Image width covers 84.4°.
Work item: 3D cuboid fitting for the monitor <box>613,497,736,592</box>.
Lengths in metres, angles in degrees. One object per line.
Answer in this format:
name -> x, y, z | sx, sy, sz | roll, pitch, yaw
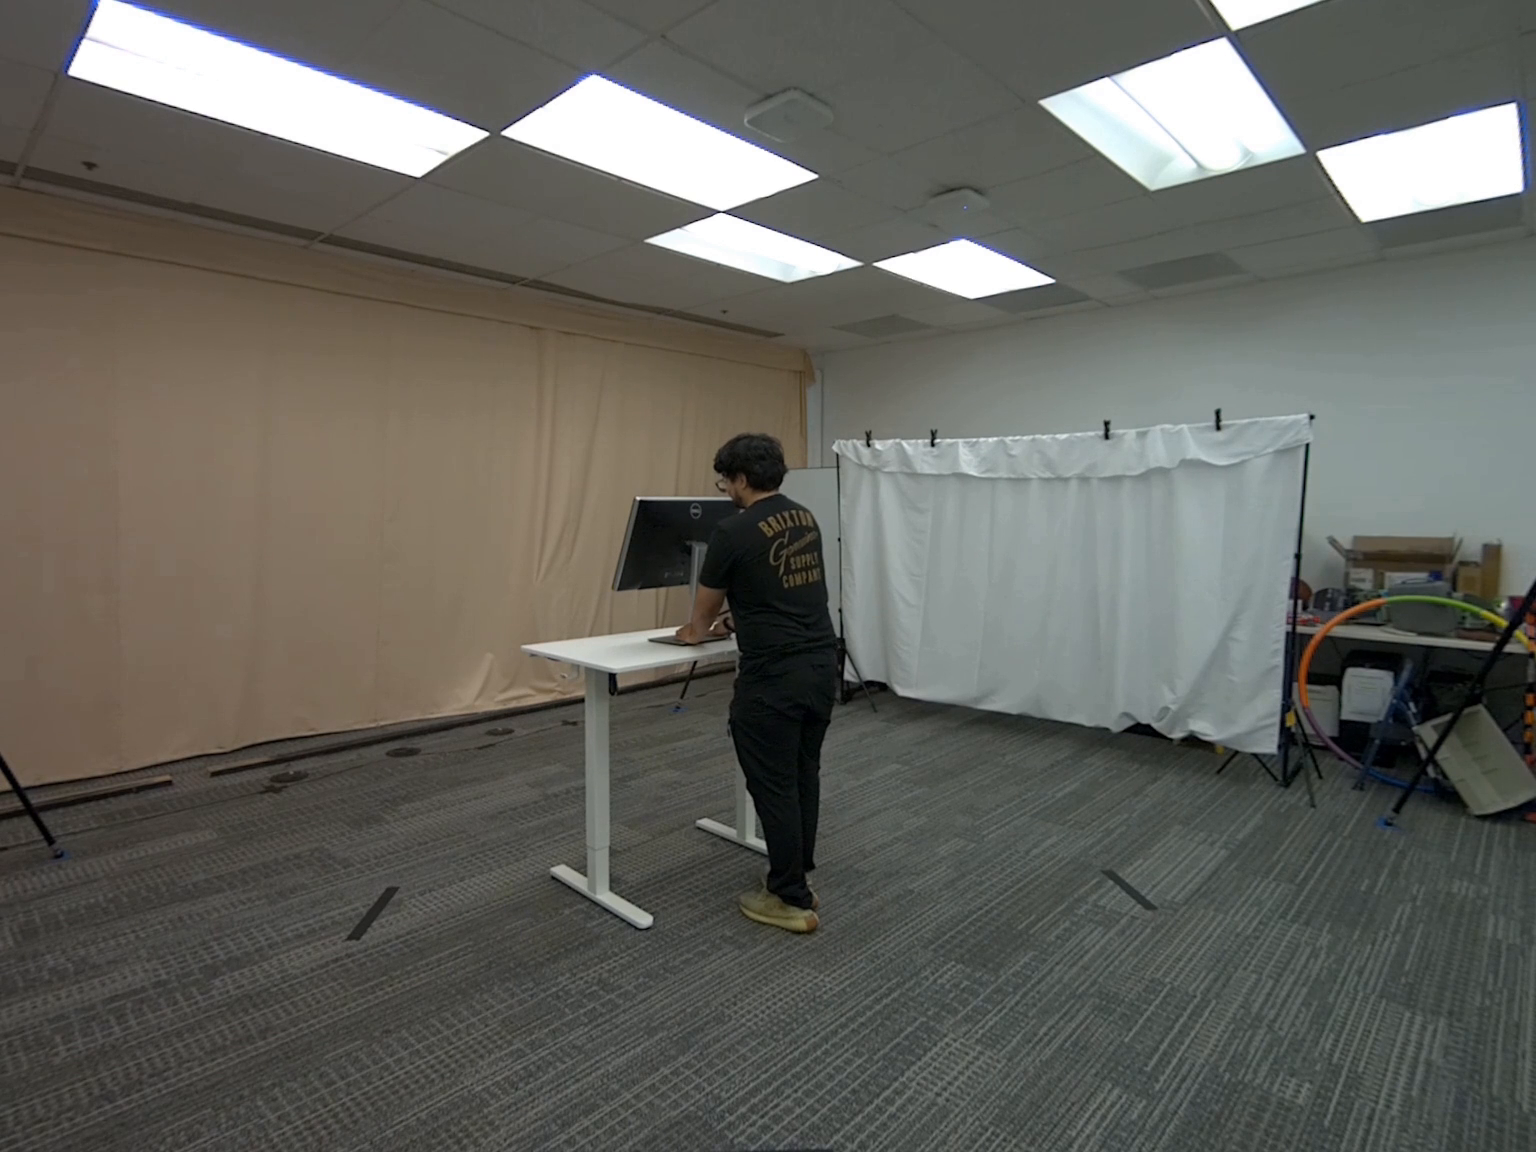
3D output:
monitor -> -0.290, -0.022, 3.172 | 0.218, 0.551, 0.548 | 18, 15, 39
